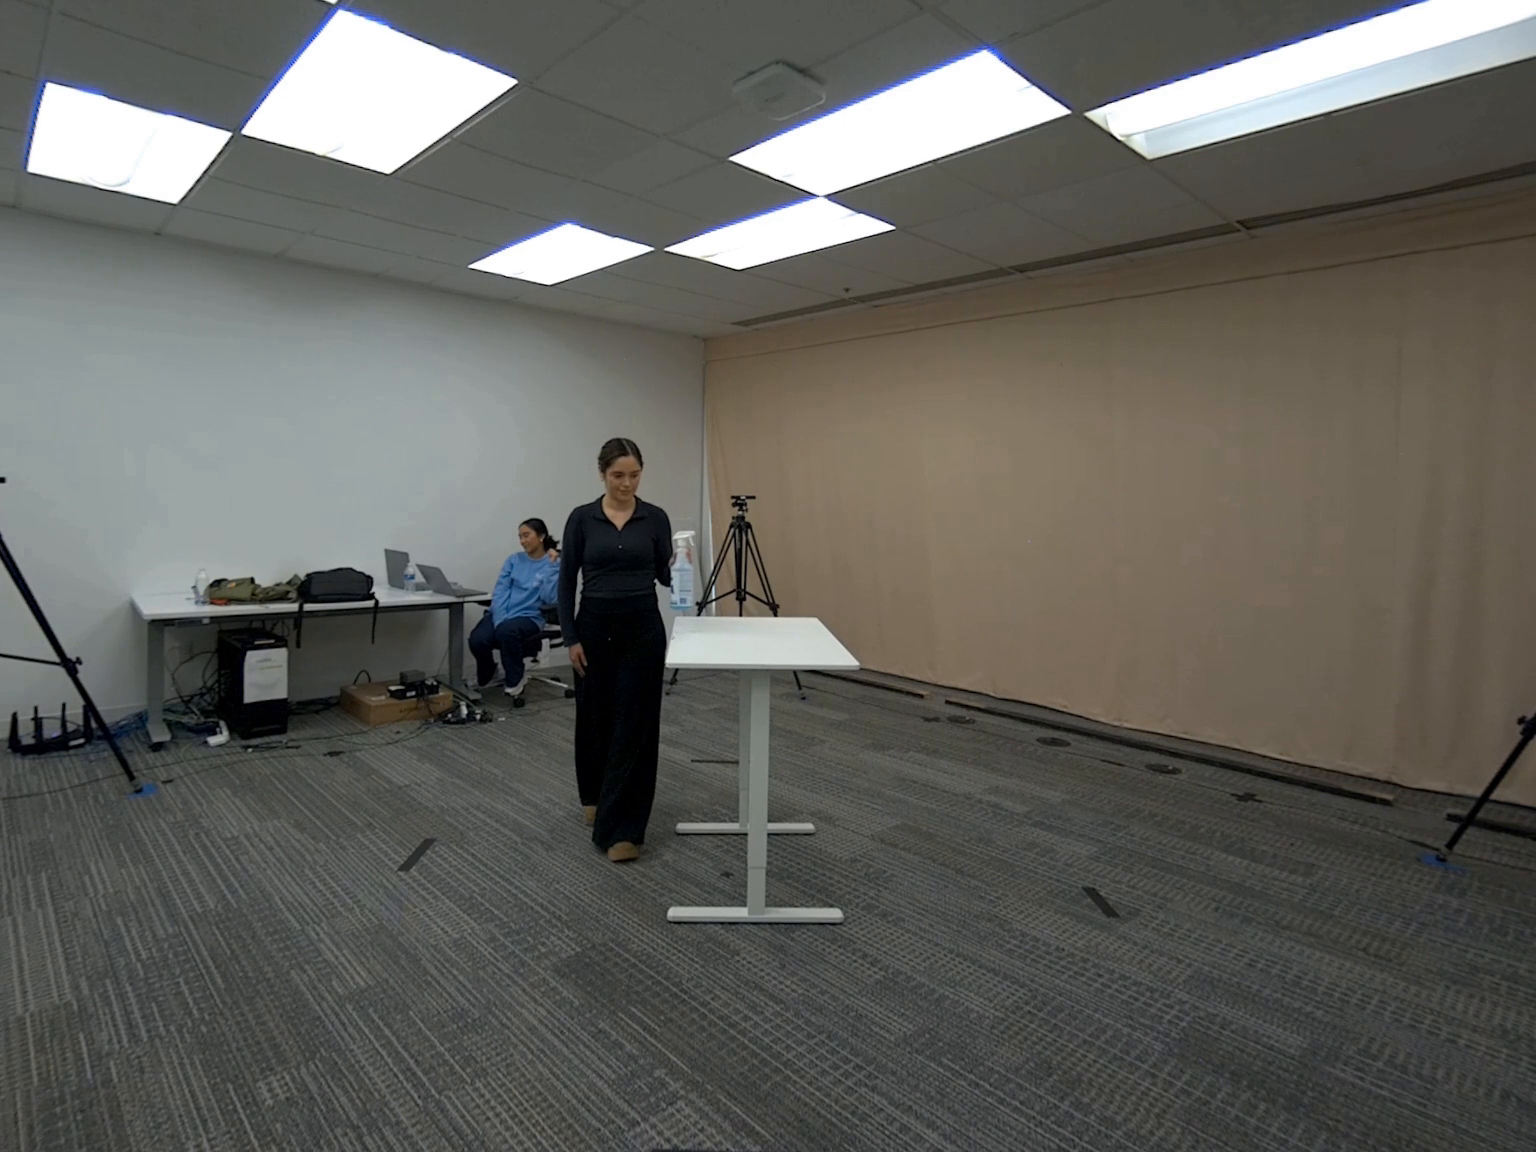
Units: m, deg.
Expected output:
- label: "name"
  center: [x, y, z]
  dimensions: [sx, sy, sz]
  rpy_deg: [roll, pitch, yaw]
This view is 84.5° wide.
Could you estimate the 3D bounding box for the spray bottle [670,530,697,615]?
- label: "spray bottle"
  center: [-0.340, -0.021, 3.185]
  dimensions: [0.085, 0.297, 0.092]
  rpy_deg: [1, 1, -42]
